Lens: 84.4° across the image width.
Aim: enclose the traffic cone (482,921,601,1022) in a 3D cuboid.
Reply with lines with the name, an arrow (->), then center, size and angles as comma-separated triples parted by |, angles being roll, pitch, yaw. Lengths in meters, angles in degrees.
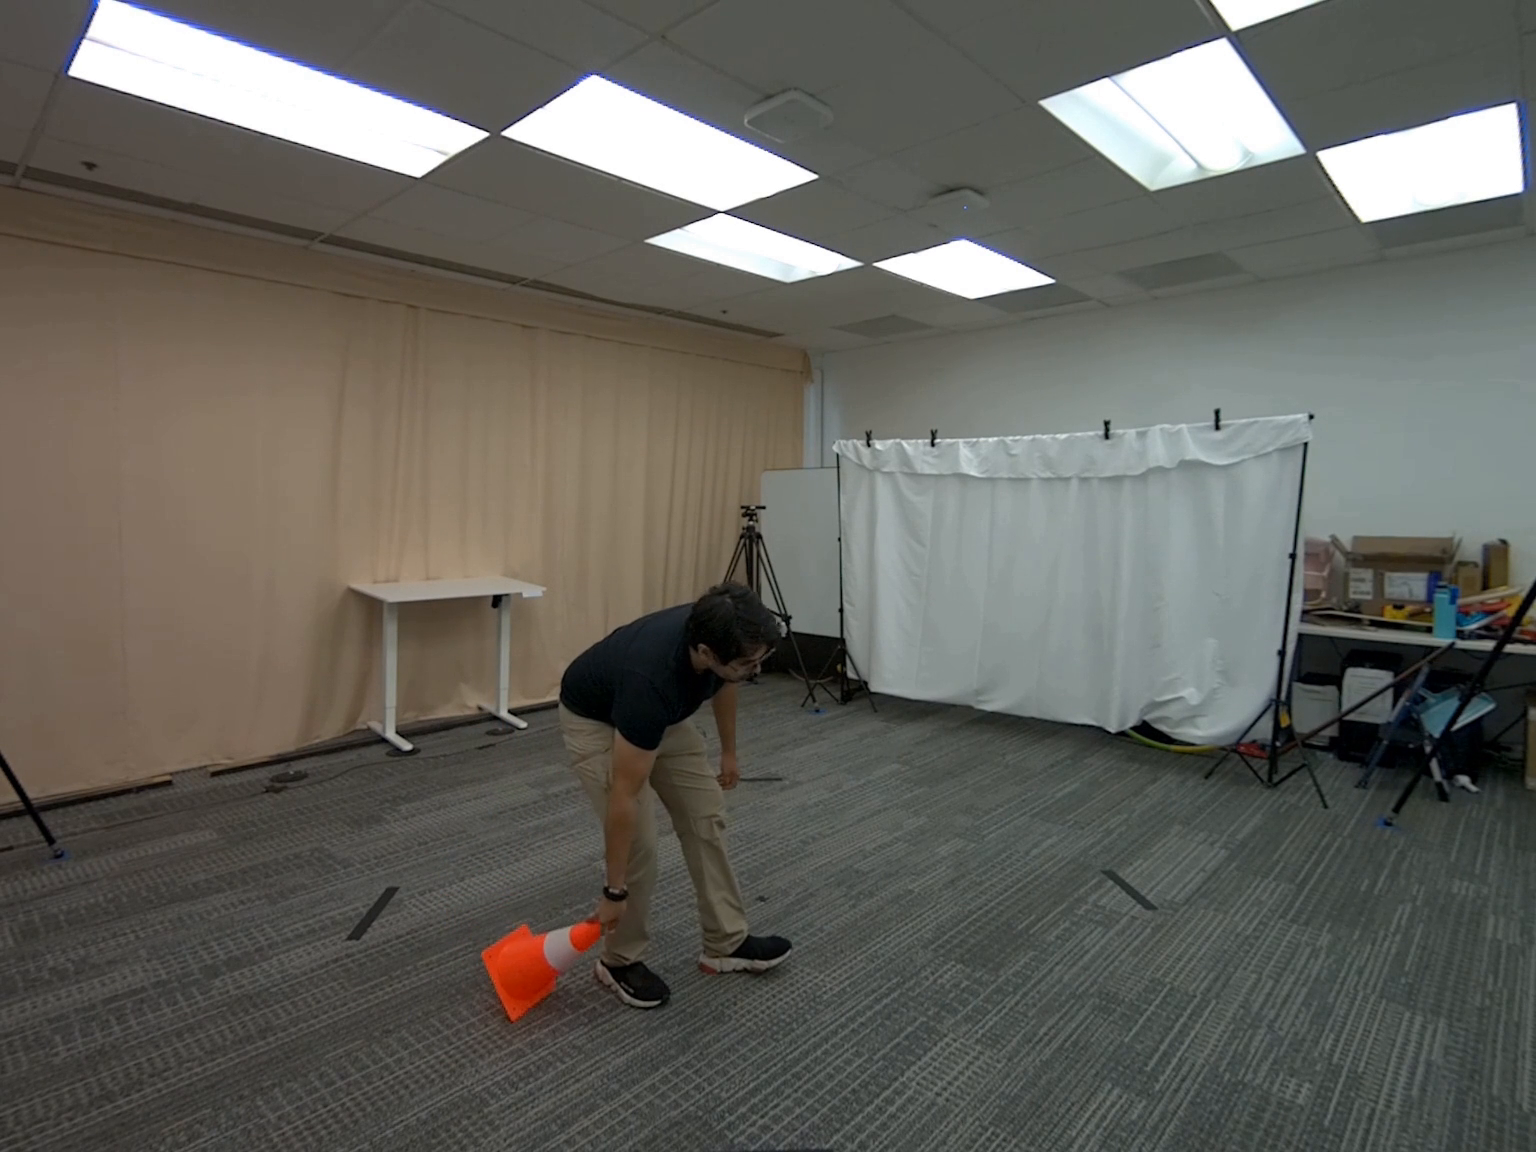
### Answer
traffic cone -> -0.562, 1.025, 2.295 | 0.388, 0.208, 0.198 | -35, -12, 22
